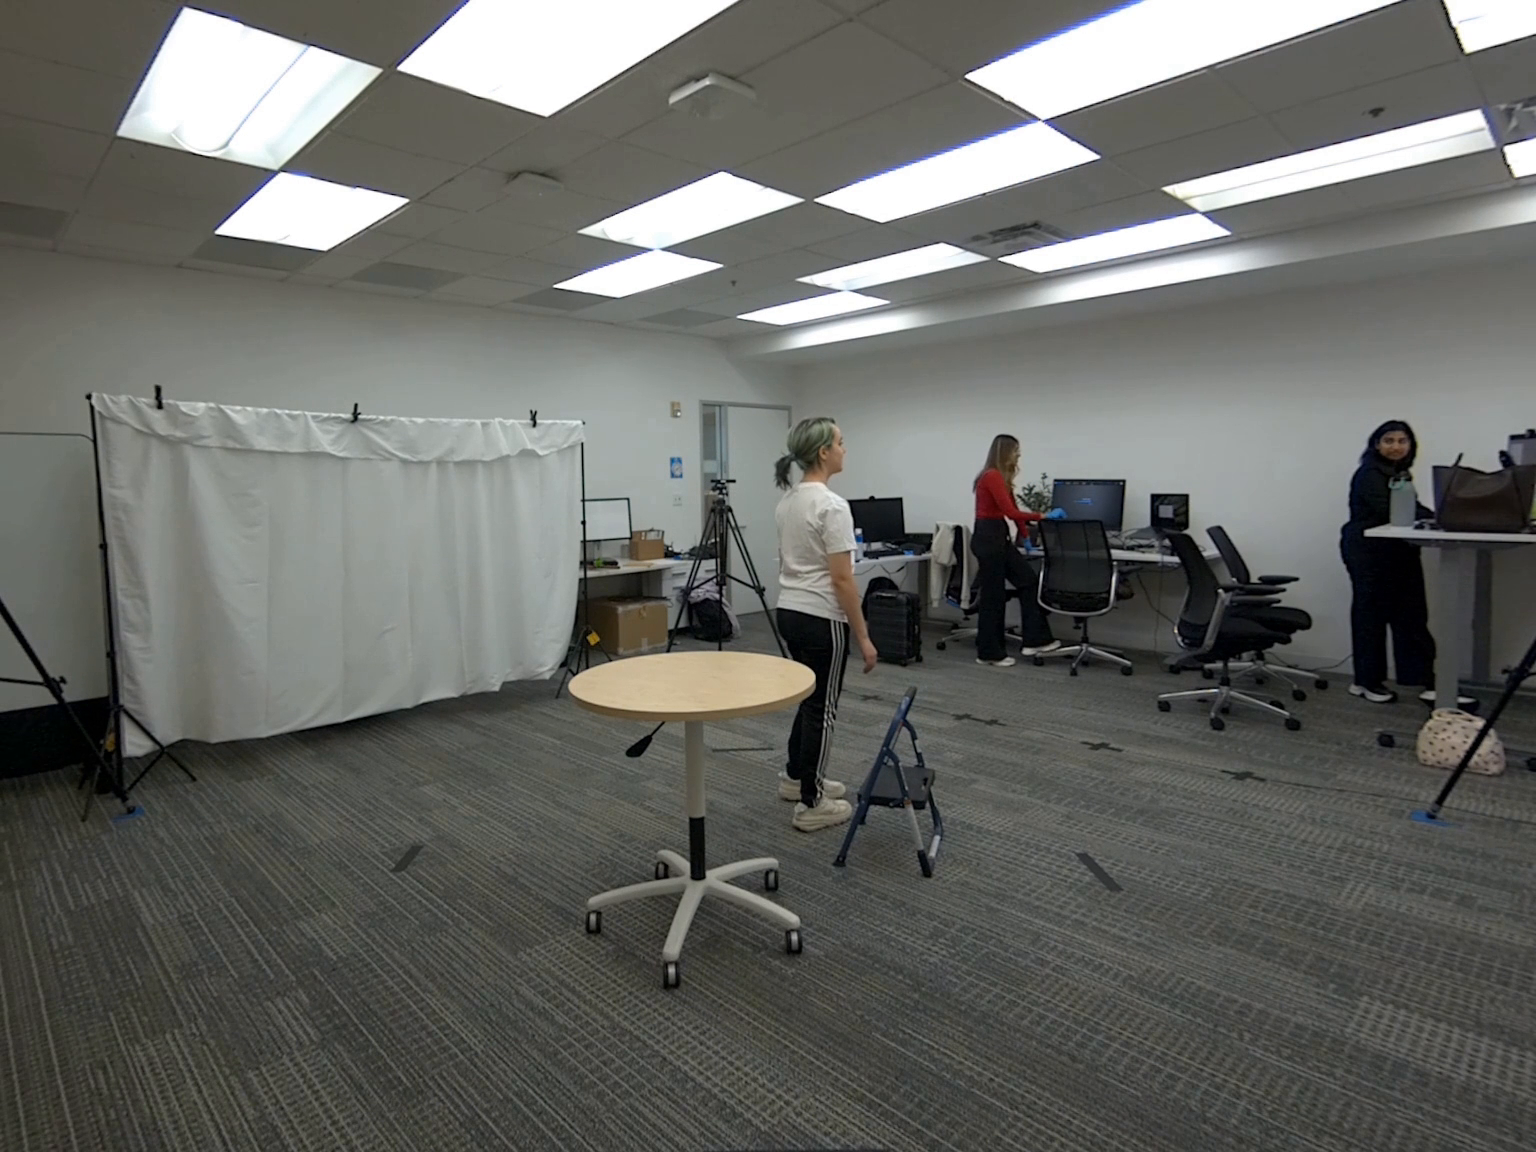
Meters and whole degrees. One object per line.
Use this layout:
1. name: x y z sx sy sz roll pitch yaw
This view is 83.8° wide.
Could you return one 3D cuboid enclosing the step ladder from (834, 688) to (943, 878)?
1. step ladder: 0.458 0.726 3.197 0.355 0.604 0.424 0 4 18
